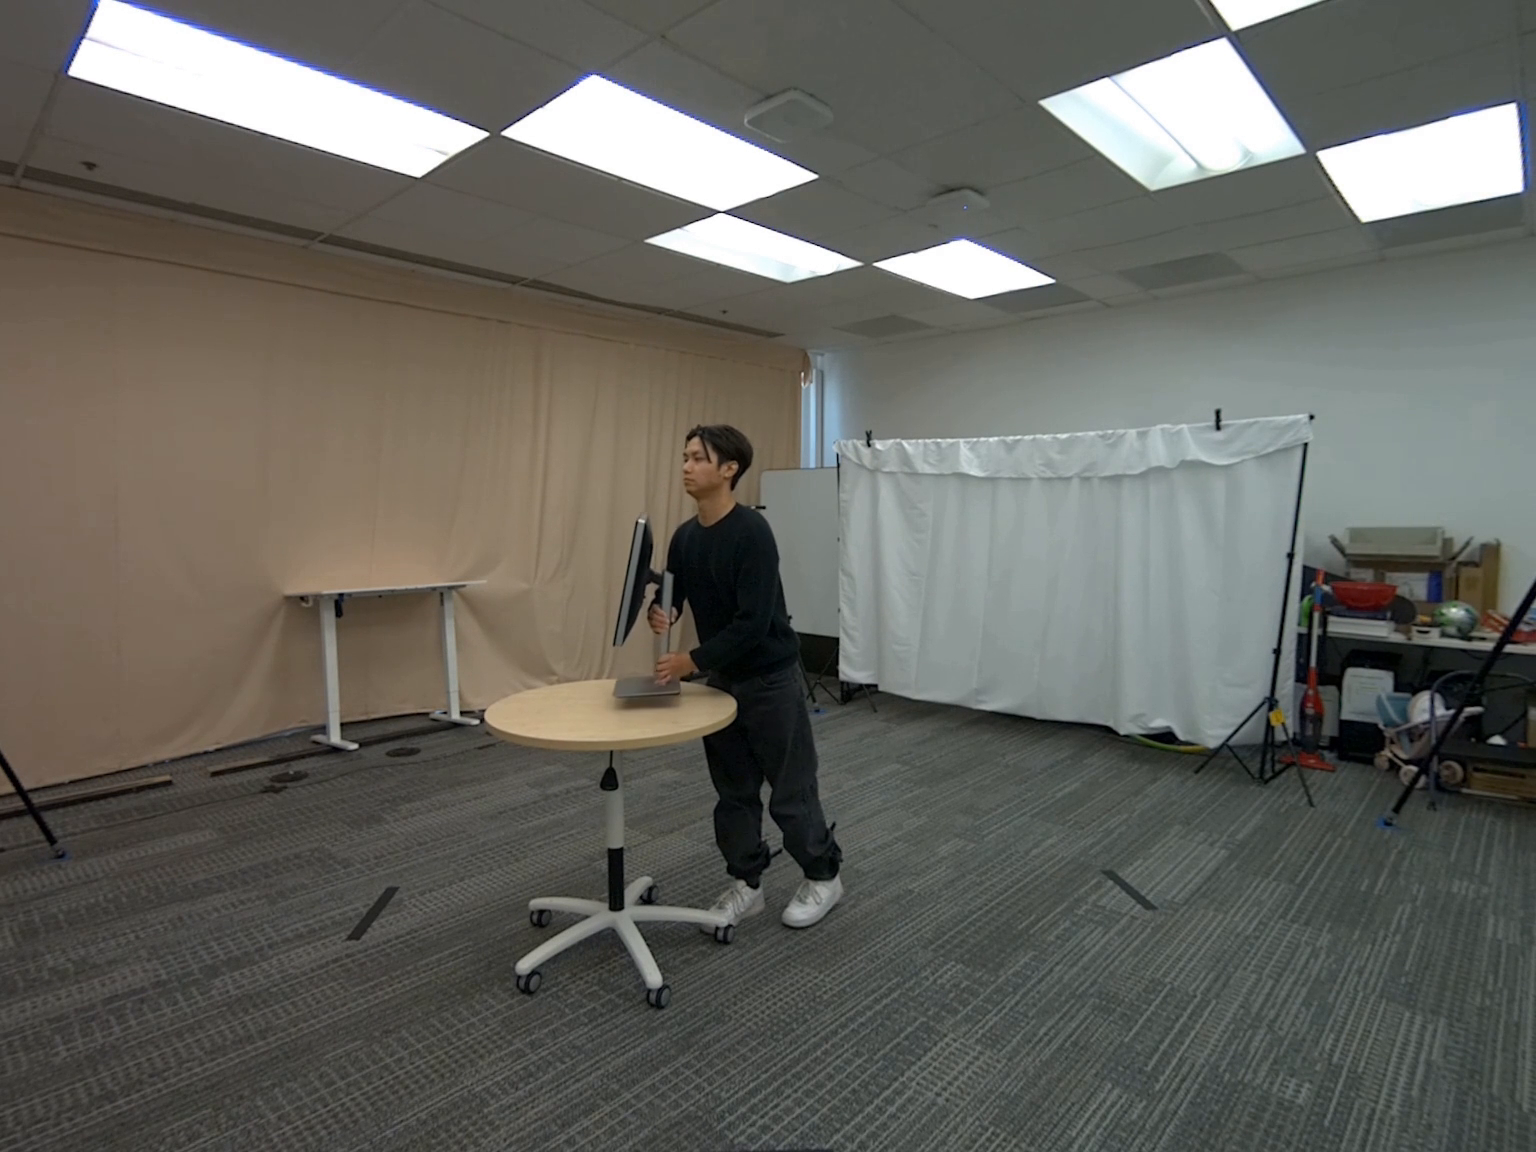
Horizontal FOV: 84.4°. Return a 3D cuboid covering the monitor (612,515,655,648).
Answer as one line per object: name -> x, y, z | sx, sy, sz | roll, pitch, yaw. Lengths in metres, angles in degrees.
monitor -> -0.385, 0.087, 2.632 | 0.173, 0.513, 0.536 | -7, 7, -7
